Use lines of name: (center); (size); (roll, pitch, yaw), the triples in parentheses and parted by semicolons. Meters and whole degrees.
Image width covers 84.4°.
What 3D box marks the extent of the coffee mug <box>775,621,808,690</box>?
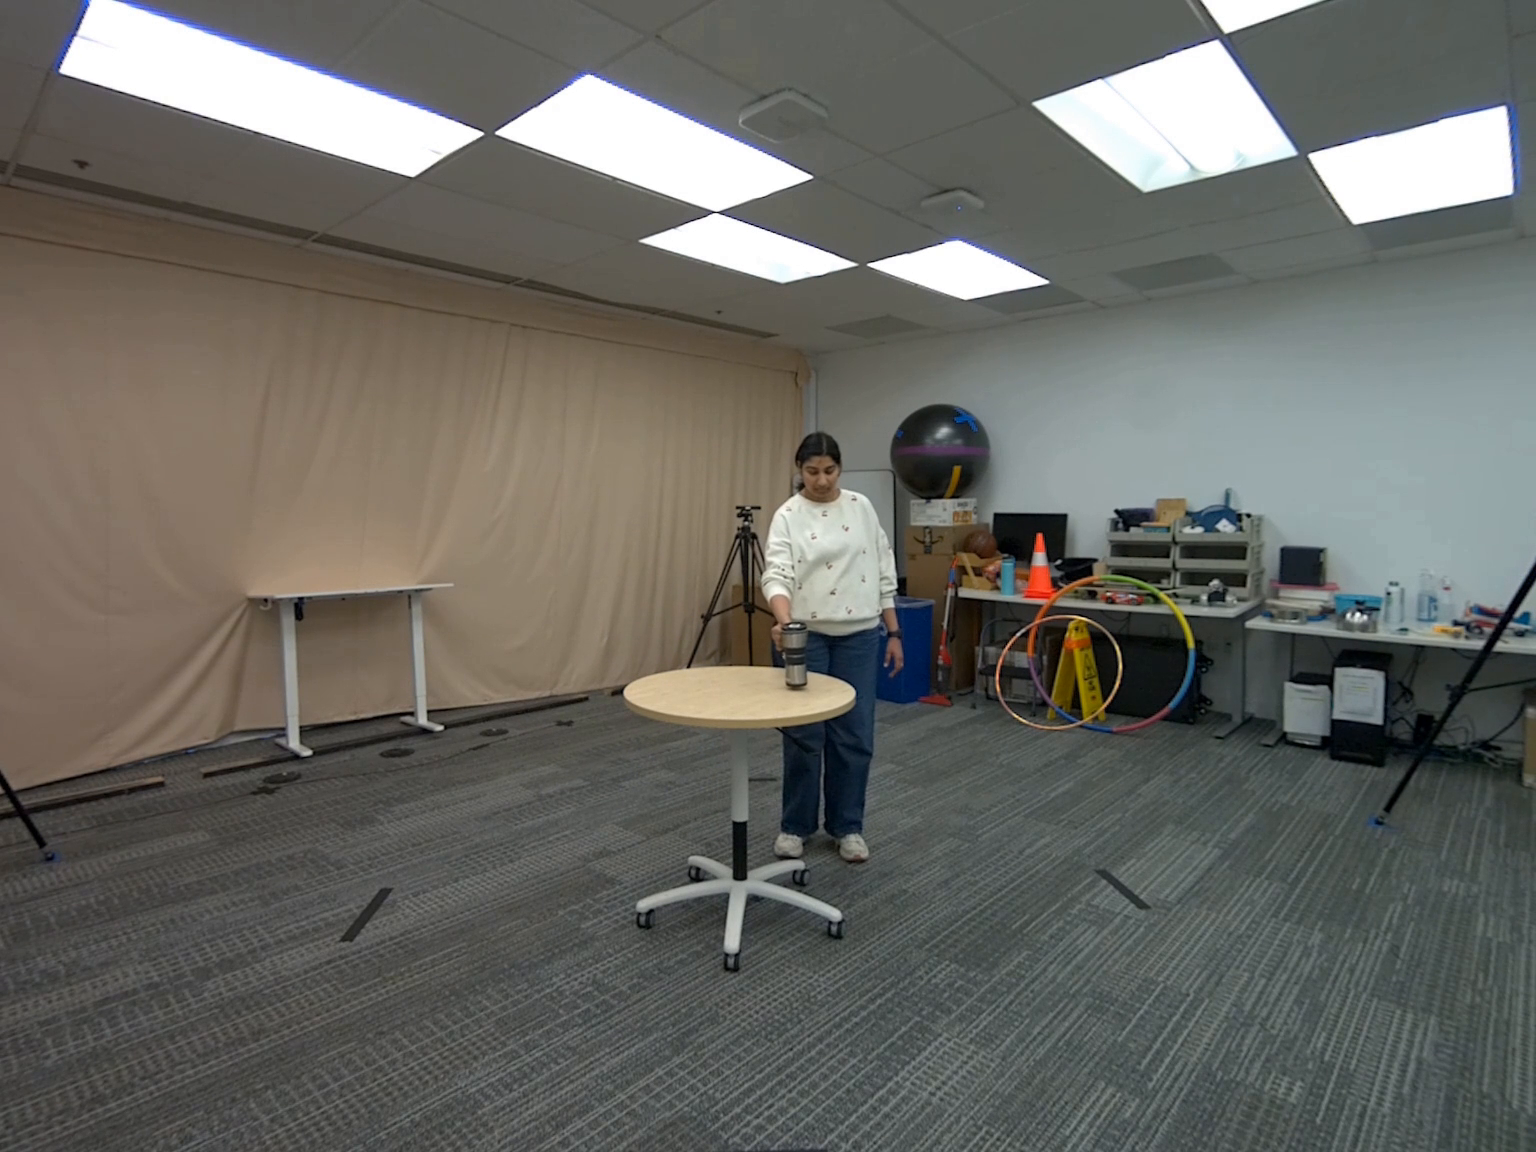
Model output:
coffee mug: (0.105, 0.259, 2.805); (0.119, 0.202, 0.090); (-11, 6, -38)
